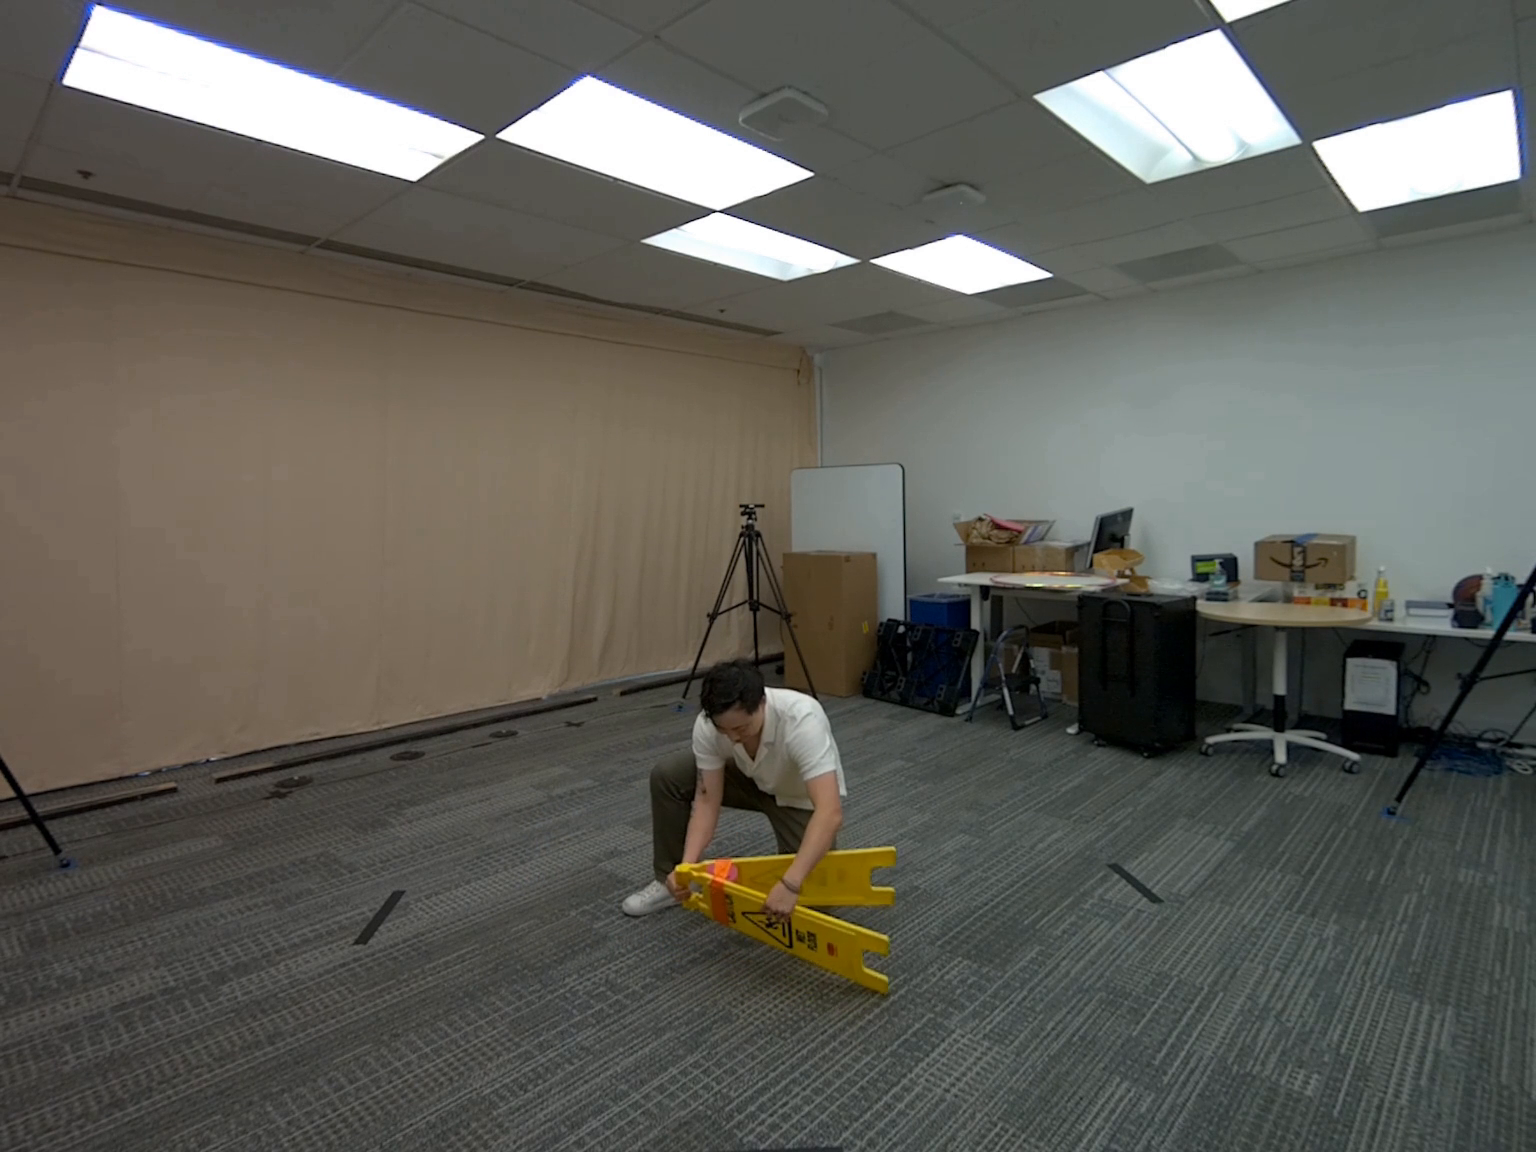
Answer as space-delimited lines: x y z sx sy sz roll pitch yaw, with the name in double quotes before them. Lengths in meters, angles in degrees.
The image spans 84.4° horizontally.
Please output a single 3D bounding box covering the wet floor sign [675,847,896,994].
"wet floor sign" 0.041 0.969 2.498 0.656 0.276 0.291 4 36 13
